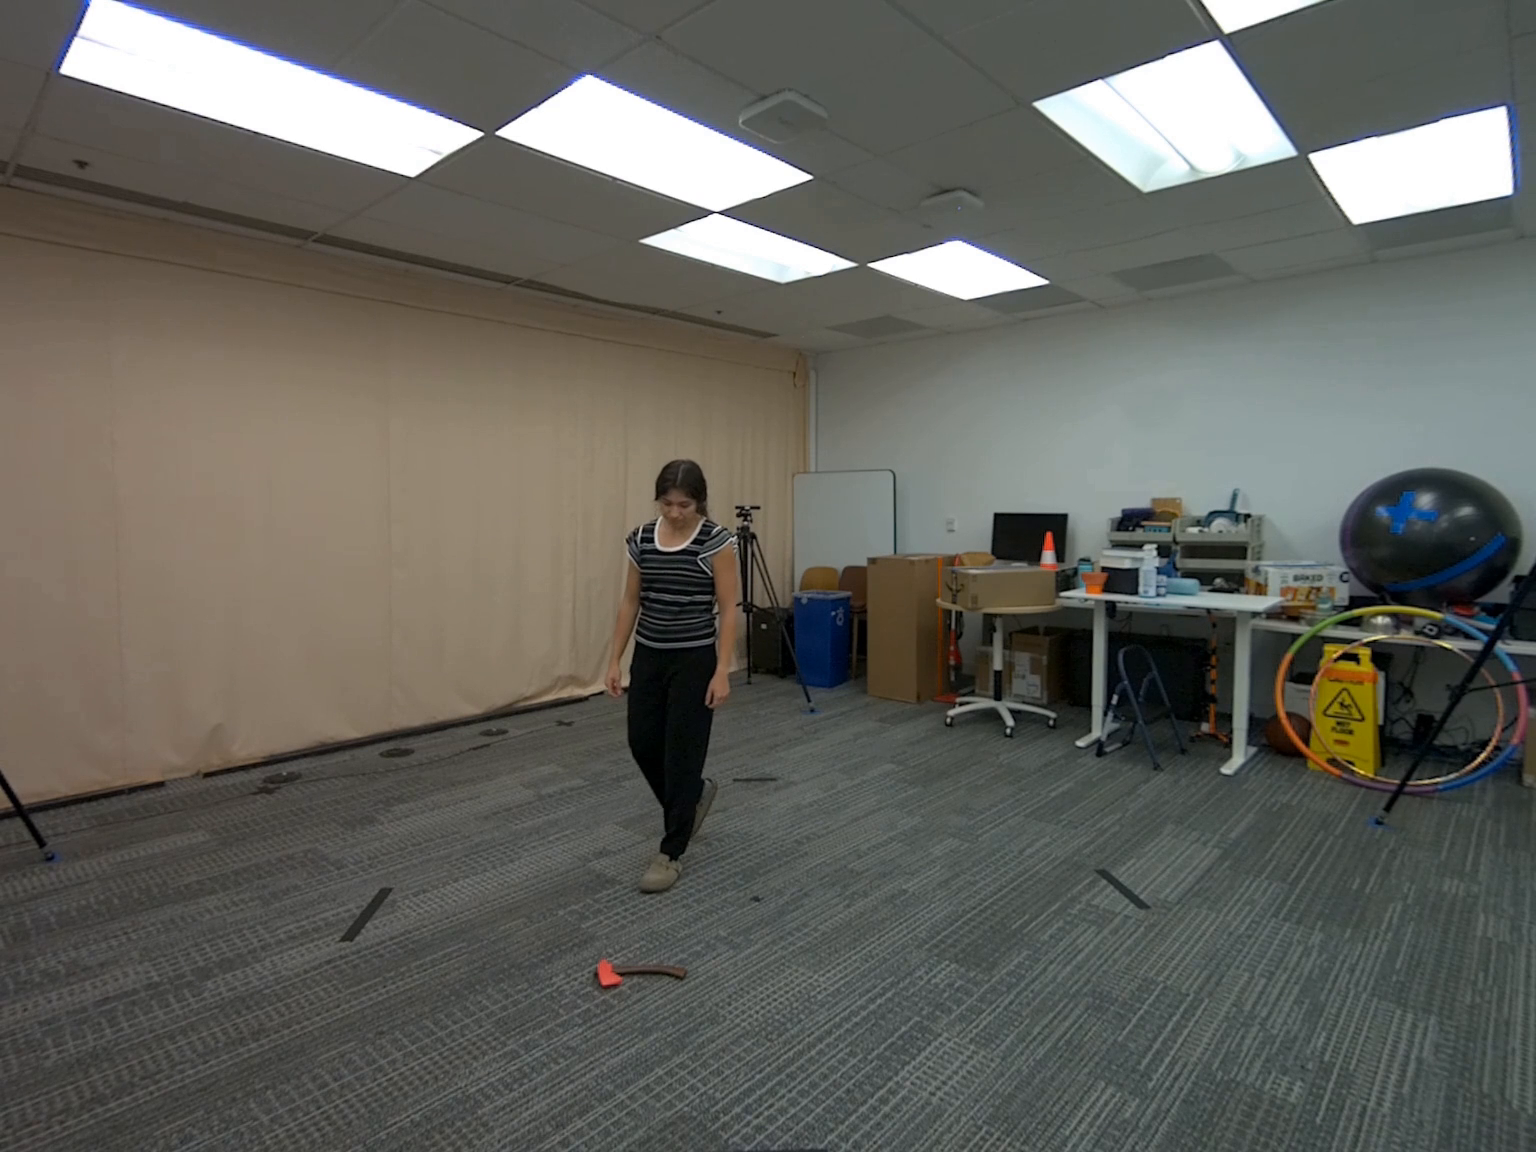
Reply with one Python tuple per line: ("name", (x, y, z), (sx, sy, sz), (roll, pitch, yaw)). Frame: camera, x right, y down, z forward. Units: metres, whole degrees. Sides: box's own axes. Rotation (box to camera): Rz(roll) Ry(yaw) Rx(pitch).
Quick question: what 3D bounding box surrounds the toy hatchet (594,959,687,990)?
("toy hatchet", (-0.378, 1.172, 2.473), (0.273, 0.029, 0.130), (1, 4, 10))
